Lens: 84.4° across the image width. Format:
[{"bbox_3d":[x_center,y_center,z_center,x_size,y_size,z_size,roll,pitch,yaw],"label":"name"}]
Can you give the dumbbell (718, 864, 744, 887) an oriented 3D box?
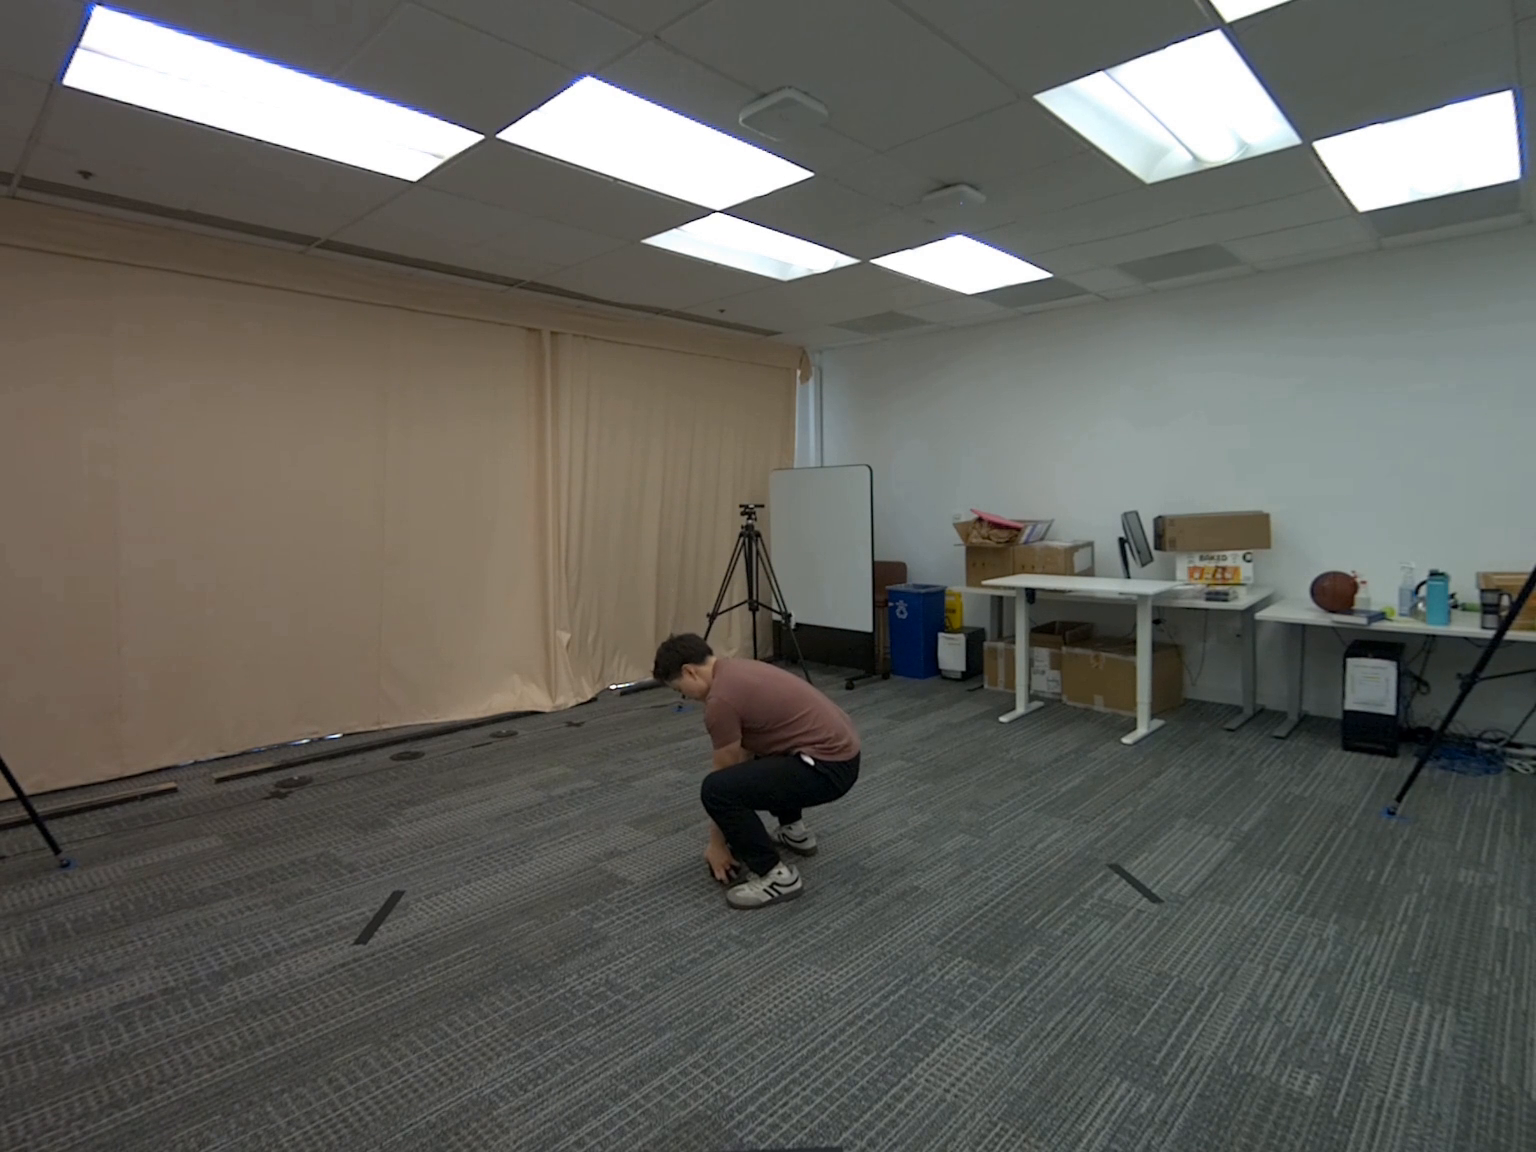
[{"bbox_3d":[-0.136,1.055,3.227,0.124,0.109,0.290,-29,-2,14],"label":"dumbbell"}]
